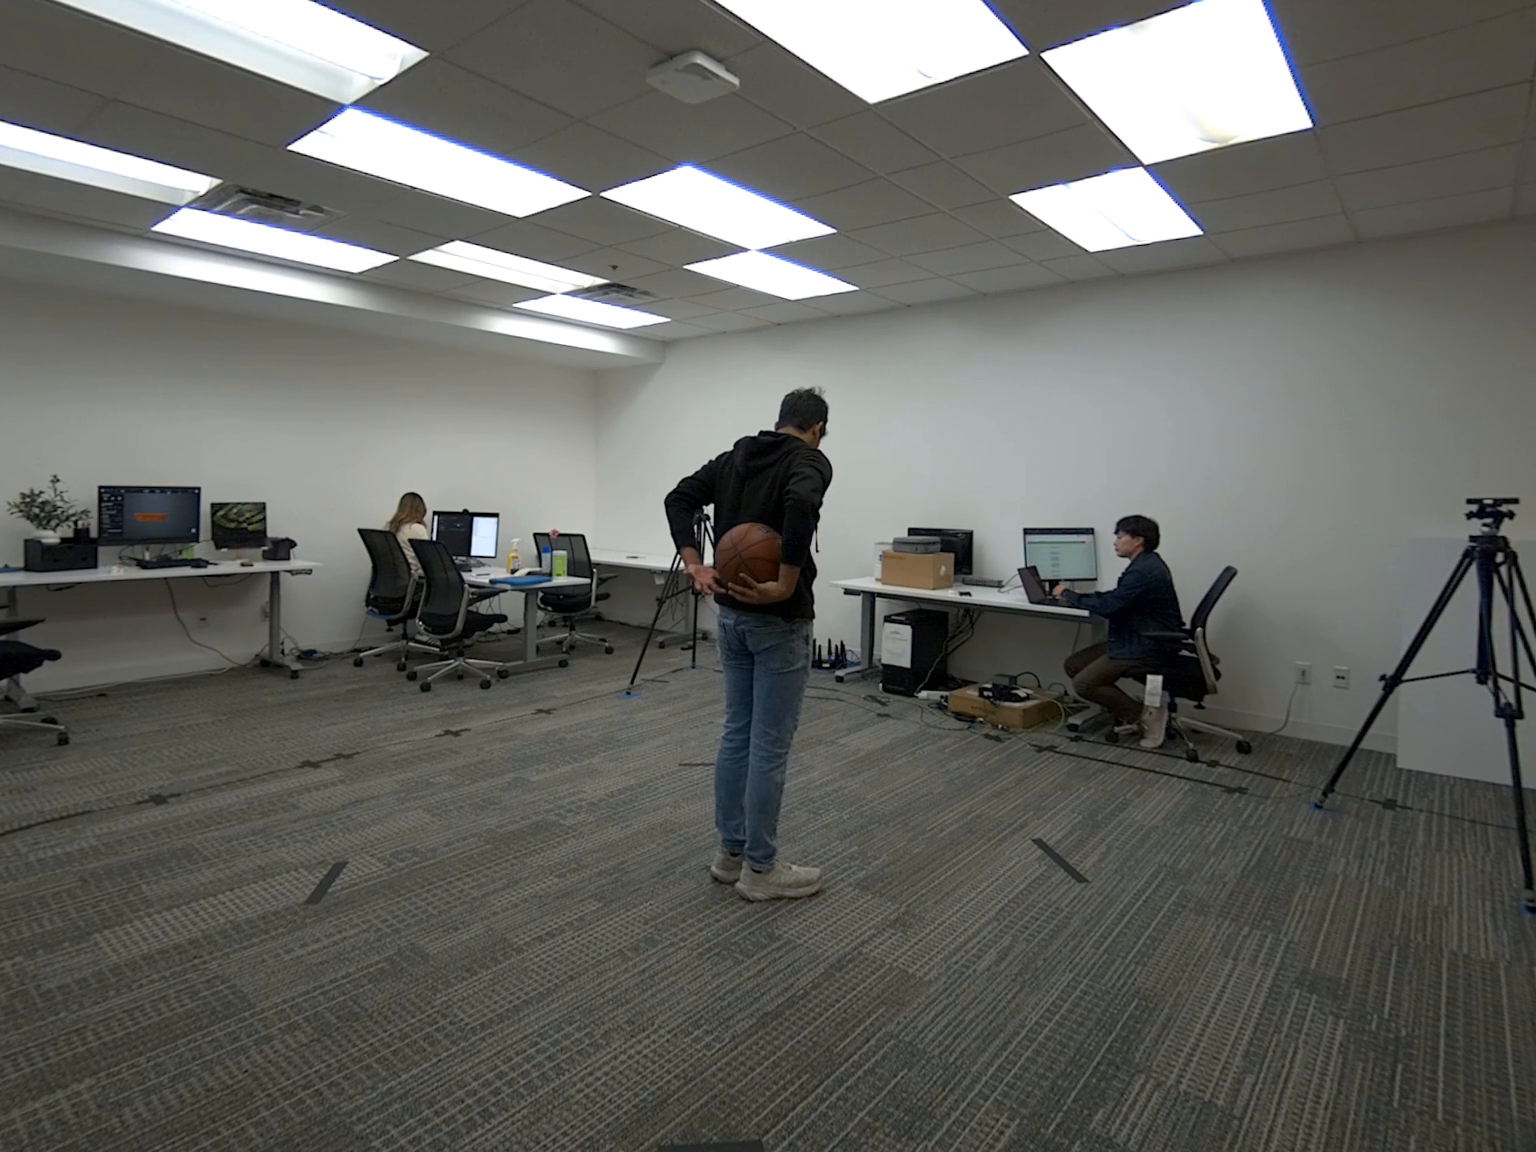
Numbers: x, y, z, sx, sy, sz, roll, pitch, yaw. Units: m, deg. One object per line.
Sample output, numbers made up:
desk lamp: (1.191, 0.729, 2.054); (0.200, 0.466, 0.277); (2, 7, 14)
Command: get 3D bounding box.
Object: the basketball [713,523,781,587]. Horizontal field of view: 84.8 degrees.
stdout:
basketball: (-0.060, -0.057, 2.715); (0.235, 0.235, 0.237); (1, 4, -2)
